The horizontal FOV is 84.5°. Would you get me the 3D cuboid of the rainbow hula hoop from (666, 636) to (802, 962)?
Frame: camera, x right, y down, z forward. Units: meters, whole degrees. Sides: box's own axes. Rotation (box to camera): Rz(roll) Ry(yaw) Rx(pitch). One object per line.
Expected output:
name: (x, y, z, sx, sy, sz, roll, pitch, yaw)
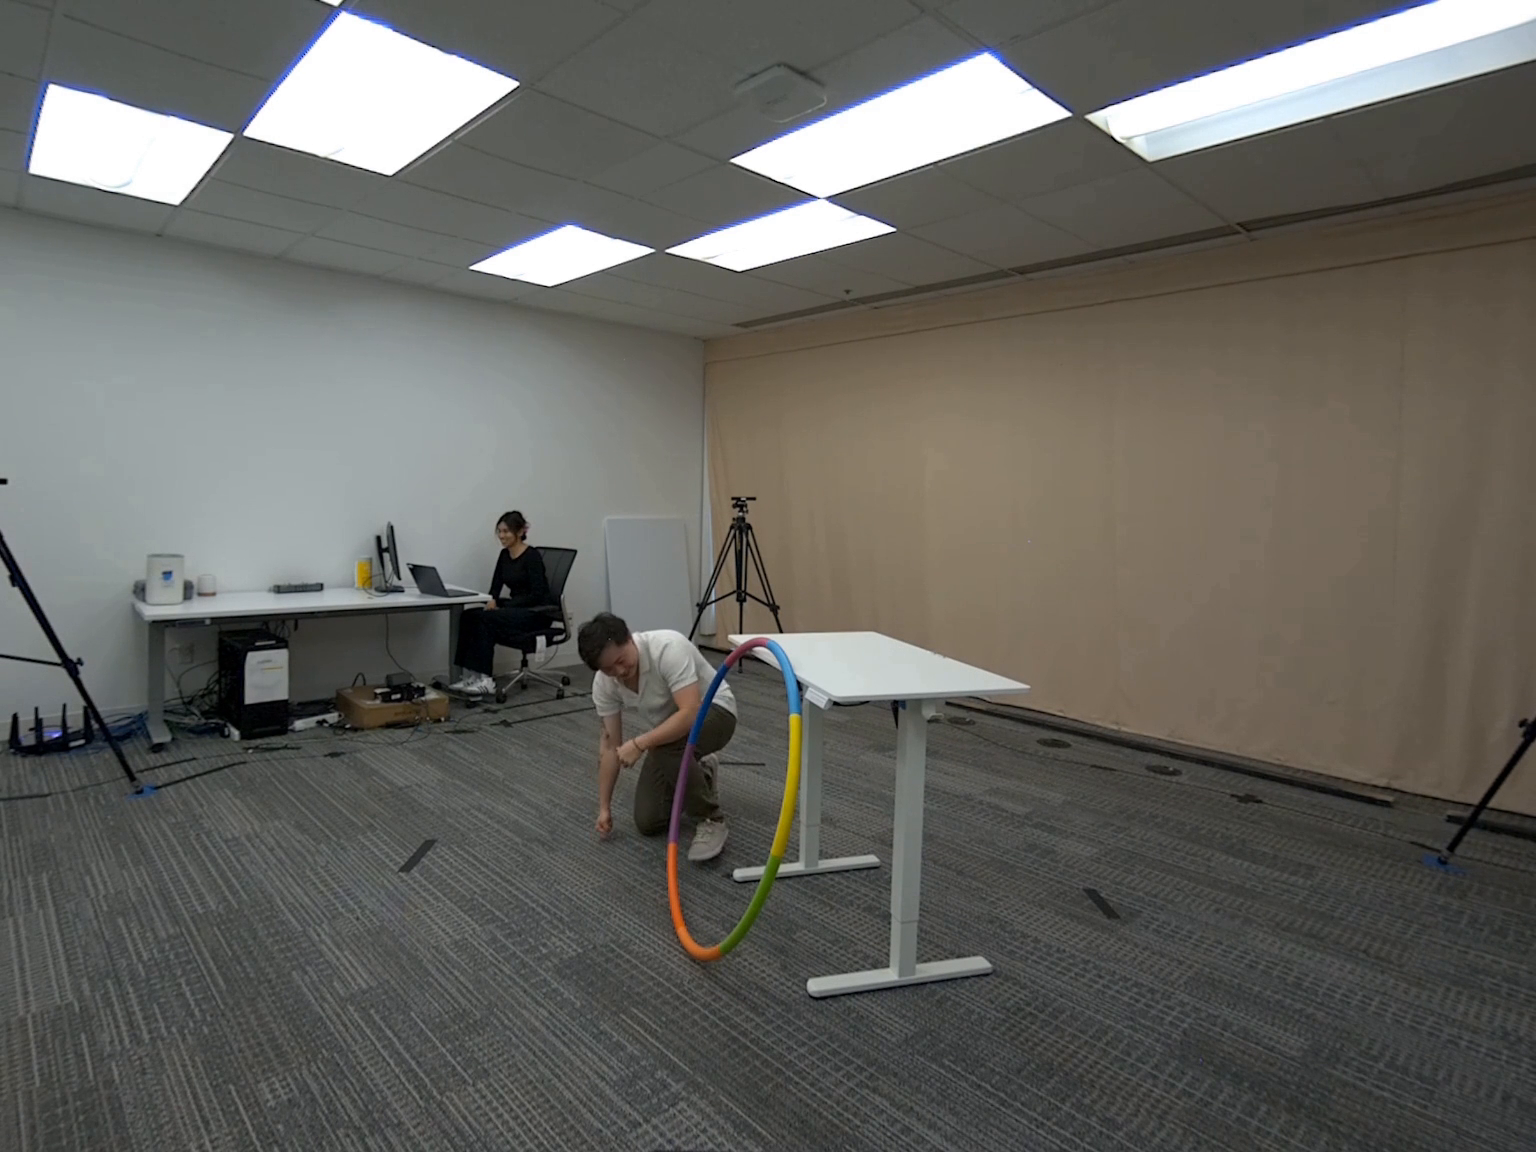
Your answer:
rainbow hula hoop: (-0.144, 0.682, 2.654, 0.035, 0.979, 0.995, 17, -1, -20)
